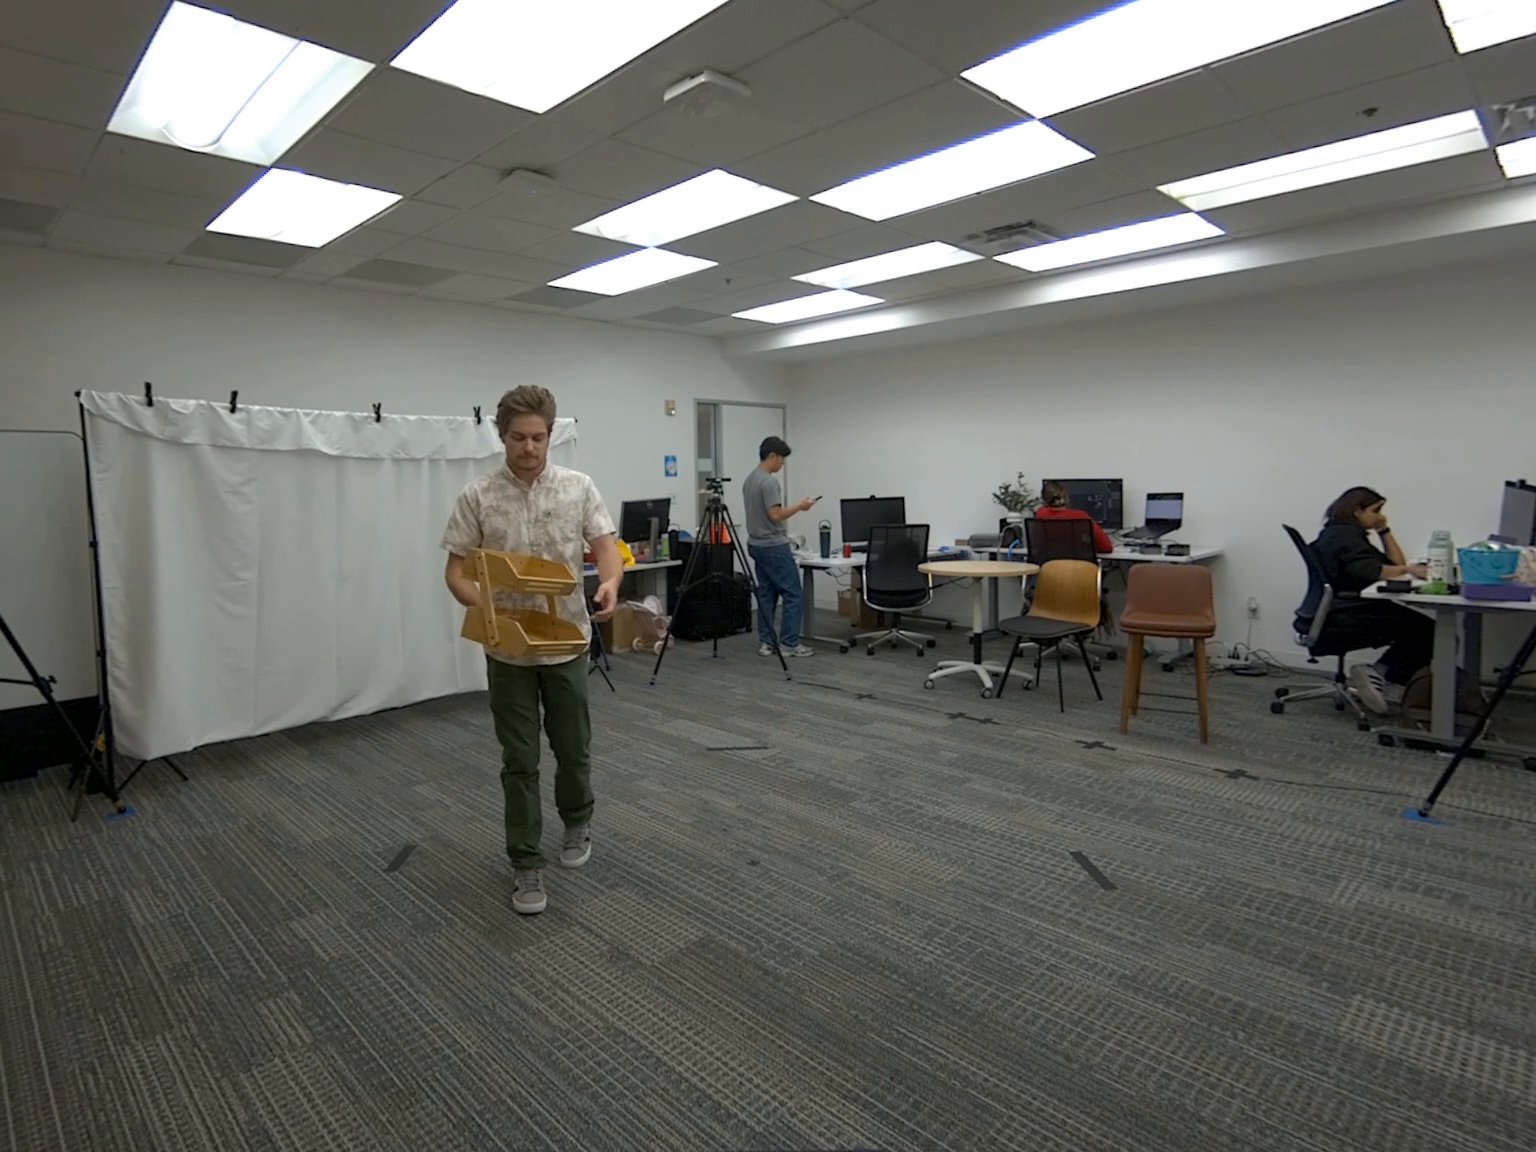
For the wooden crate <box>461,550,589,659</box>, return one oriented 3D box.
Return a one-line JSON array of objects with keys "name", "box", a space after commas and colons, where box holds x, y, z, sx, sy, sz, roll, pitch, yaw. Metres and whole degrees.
[{"name": "wooden crate", "box": [-0.726, 0.083, 2.605, 0.310, 0.273, 0.316, 14, 1, 26]}]
